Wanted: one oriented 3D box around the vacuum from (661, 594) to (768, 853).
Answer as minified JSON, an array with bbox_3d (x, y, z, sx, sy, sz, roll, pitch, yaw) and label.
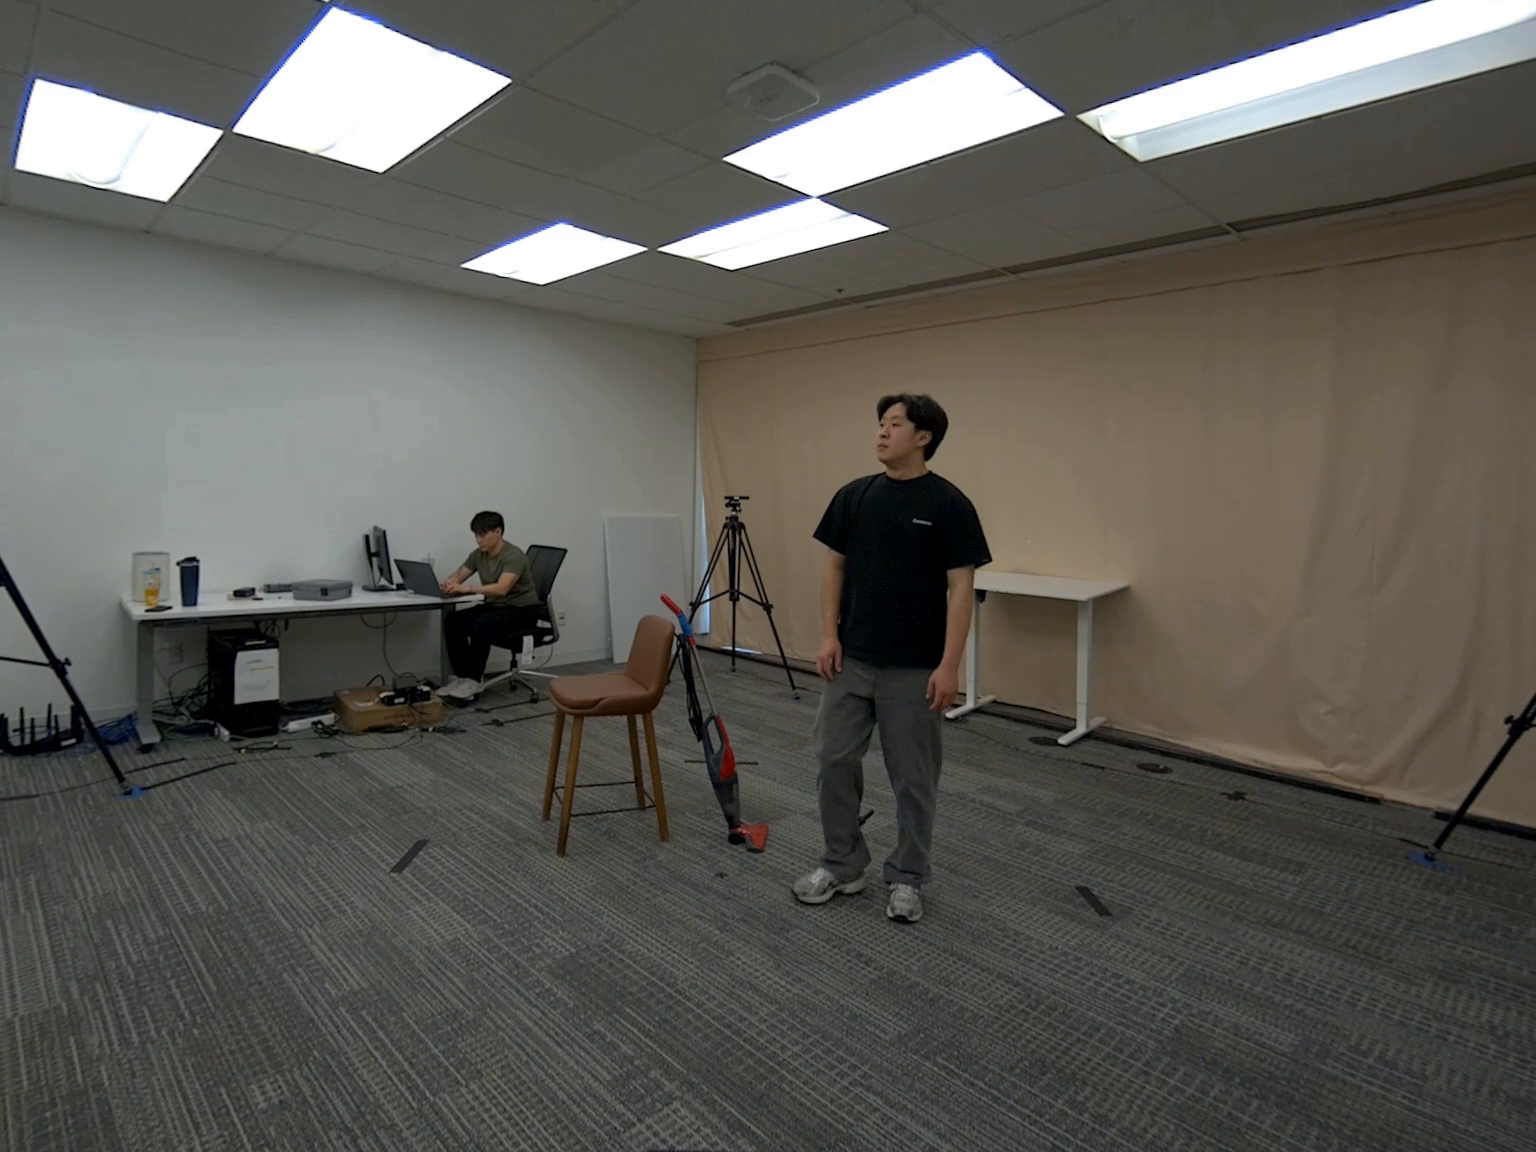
[{"bbox_3d":[-0.262,0.577,3.444,0.144,1.050,0.252,-19,-1,3],"label":"vacuum"}]
